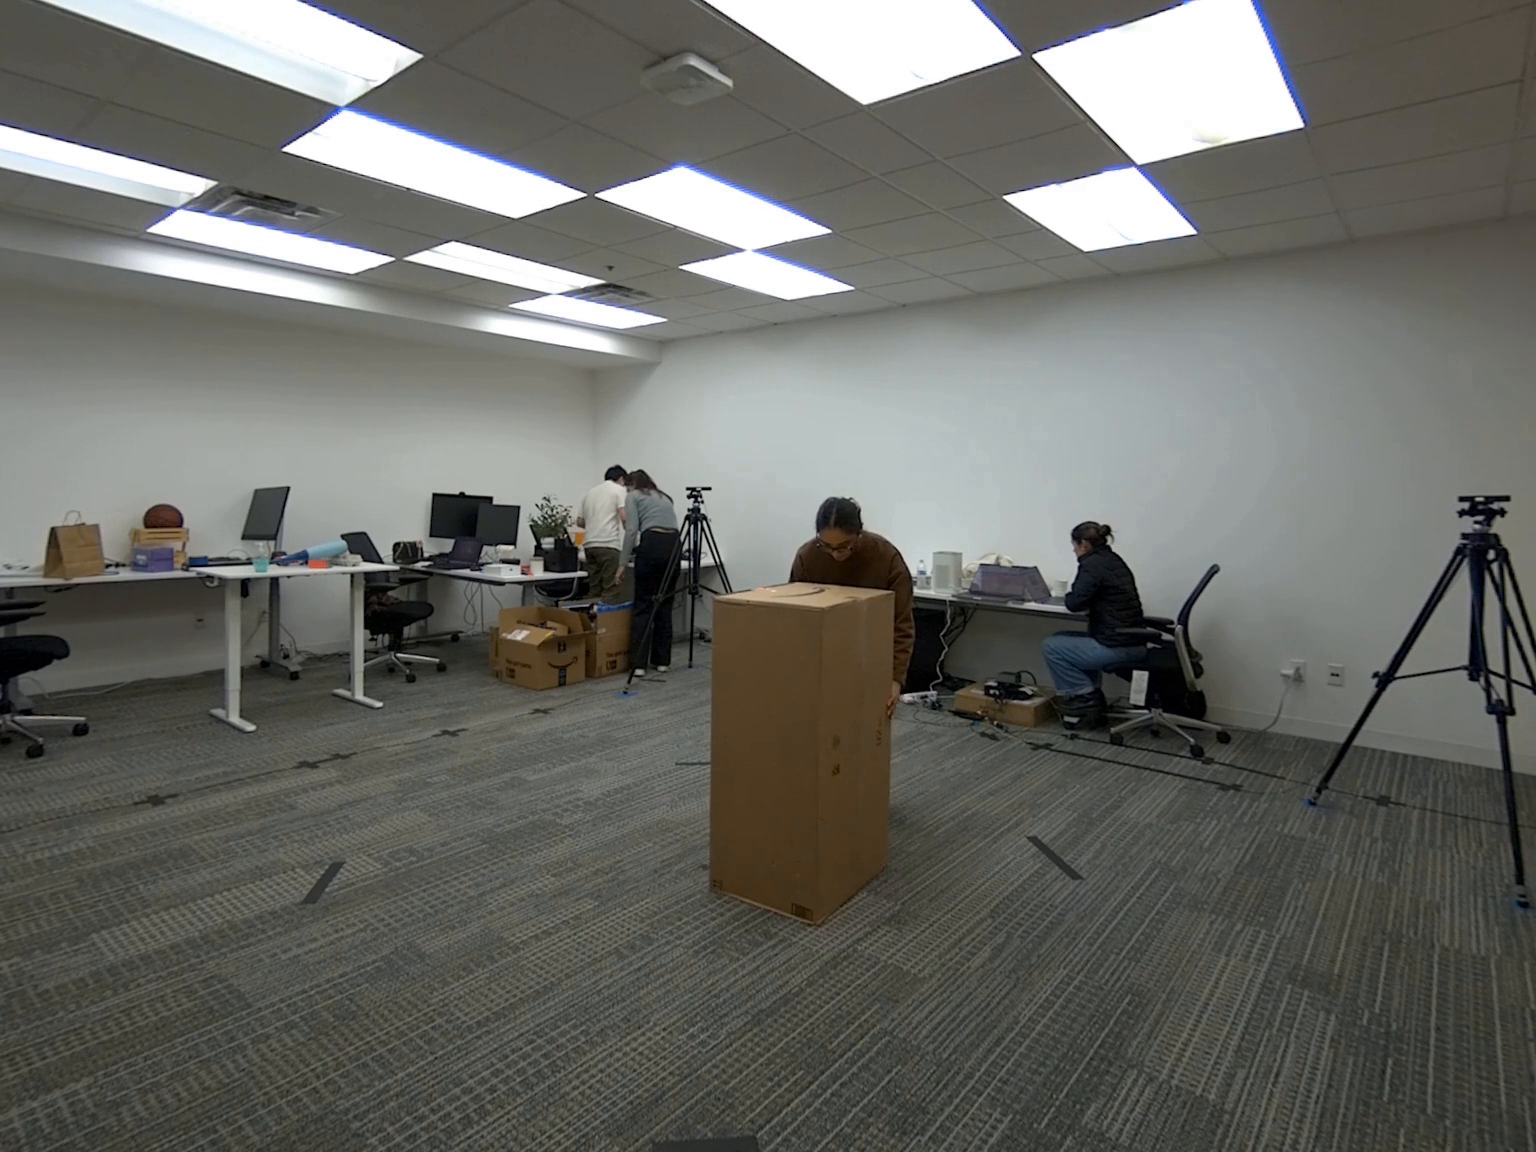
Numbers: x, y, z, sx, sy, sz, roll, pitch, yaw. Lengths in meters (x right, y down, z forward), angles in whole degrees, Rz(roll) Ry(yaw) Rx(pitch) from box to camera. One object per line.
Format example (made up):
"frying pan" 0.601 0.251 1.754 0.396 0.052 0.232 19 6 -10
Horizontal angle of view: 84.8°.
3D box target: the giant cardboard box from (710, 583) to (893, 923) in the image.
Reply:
"giant cardboard box" 0.118 0.572 3.023 0.439 1.022 0.562 3 5 33
